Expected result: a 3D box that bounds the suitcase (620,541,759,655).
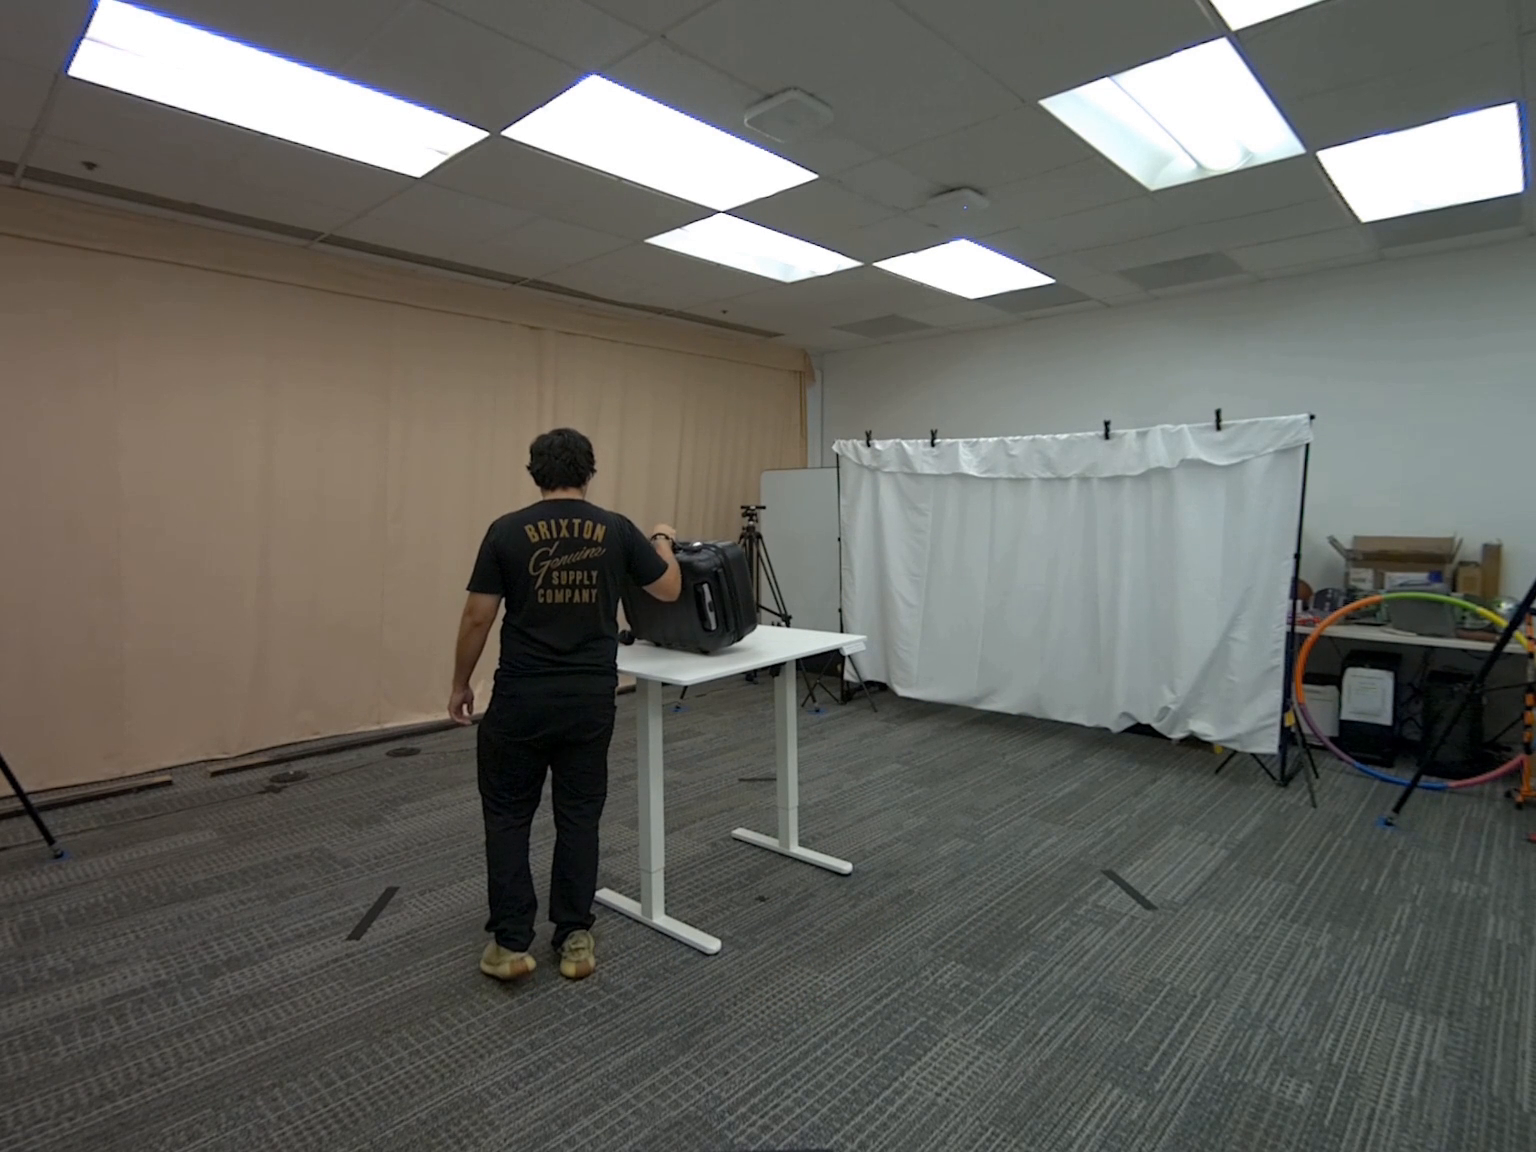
[{"bbox_3d":[-0.303,0.059,3.027,0.567,0.372,0.242,2,16,45],"label":"suitcase"}]
